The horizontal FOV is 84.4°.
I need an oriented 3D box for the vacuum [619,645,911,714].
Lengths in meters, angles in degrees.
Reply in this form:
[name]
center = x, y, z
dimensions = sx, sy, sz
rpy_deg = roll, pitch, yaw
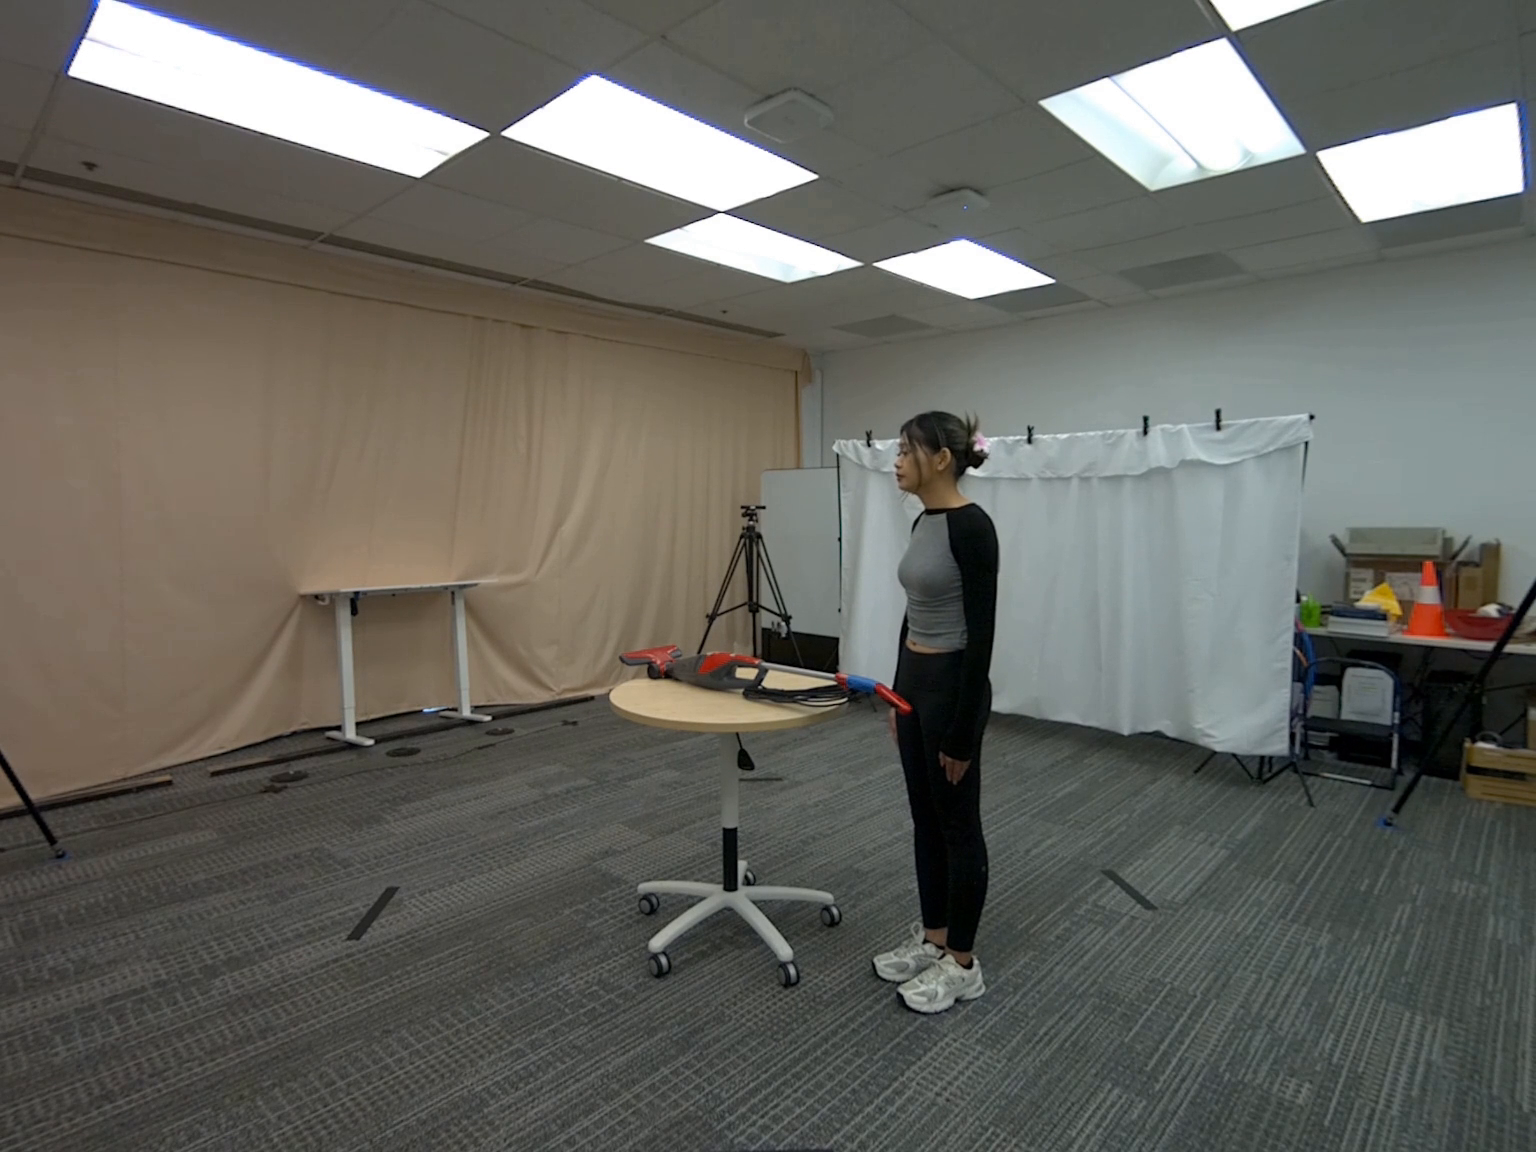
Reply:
[vacuum]
center = -0.019, 0.338, 2.603
dimensions = 0.245, 0.144, 1.084
rpy_deg = -4, 5, -44
